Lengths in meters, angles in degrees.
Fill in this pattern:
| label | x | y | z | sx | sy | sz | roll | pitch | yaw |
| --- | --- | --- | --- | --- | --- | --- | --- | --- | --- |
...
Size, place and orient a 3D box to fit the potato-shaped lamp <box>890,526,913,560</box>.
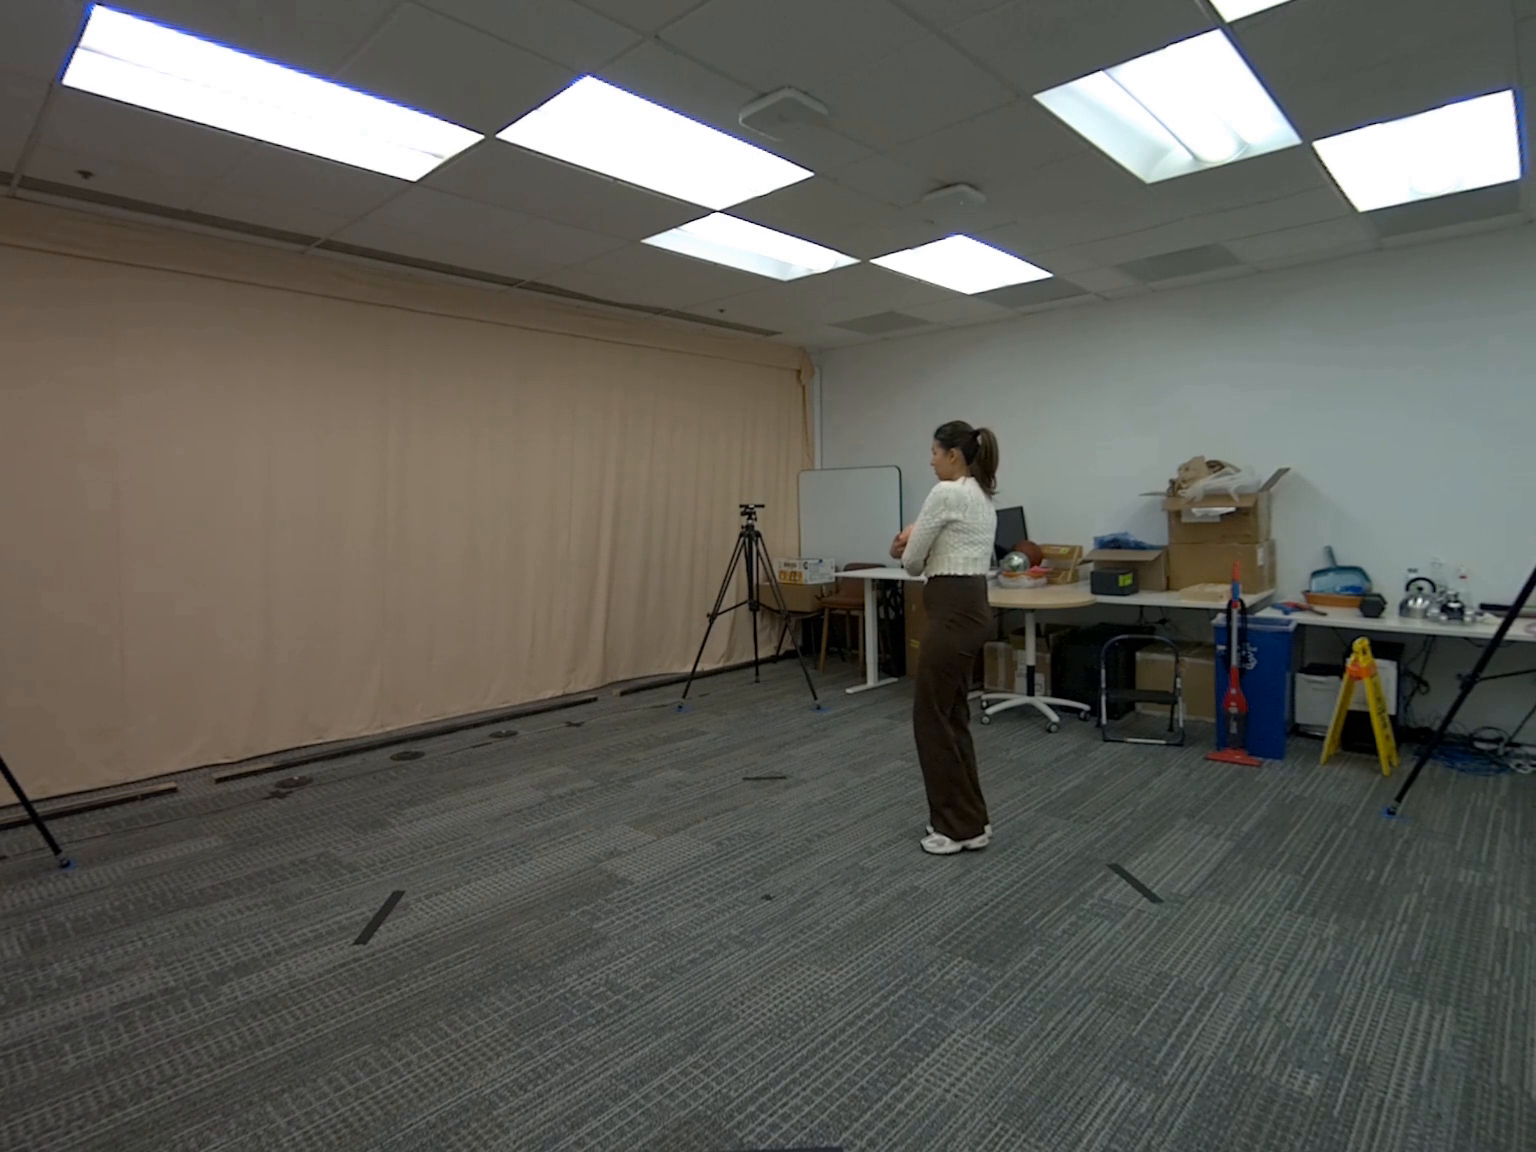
| label | x | y | z | sx | sy | sz | roll | pitch | yaw |
| --- | --- | --- | --- | --- | --- | --- | --- | --- | --- |
| potato-shaped lamp | 0.673 | -0.166 | 3.625 | 0.169 | 0.167 | 0.197 | -6 | 33 | 40 |
